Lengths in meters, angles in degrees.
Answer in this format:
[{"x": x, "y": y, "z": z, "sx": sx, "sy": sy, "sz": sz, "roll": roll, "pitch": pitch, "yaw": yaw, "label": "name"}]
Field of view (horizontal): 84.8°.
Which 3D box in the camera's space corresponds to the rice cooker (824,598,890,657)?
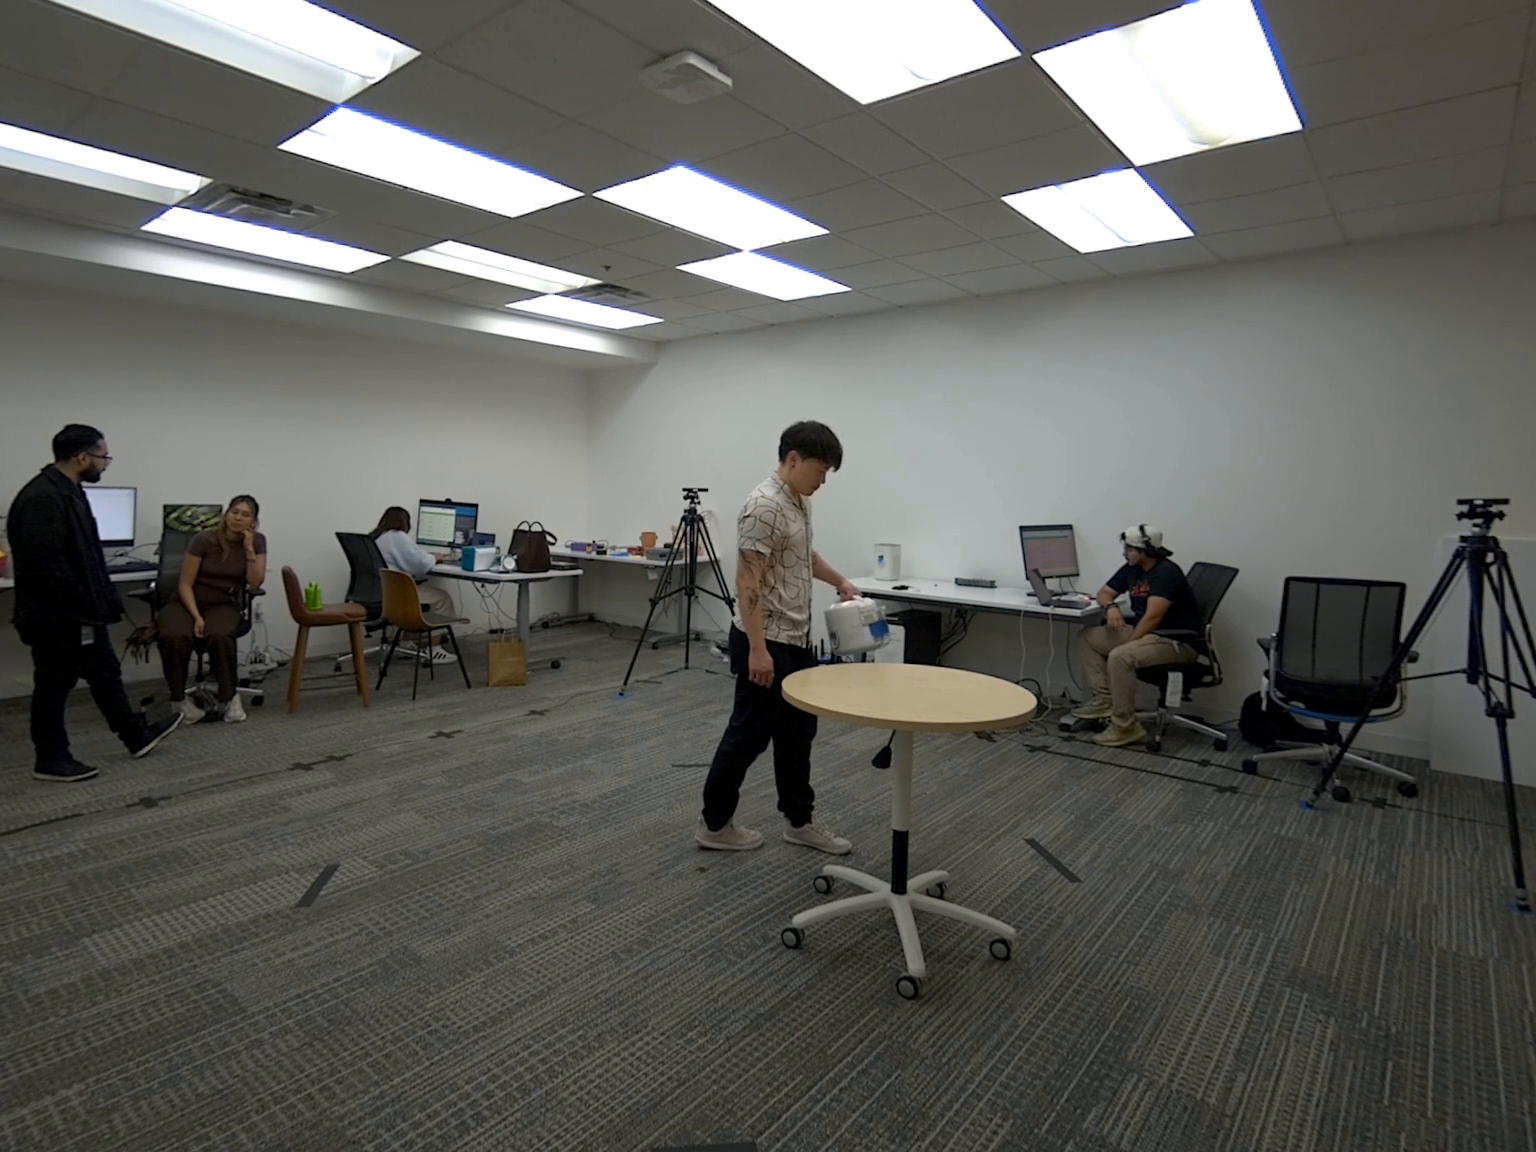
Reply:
[{"x": 0.333, "y": 0.187, "z": 3.400, "sx": 0.212, "sy": 0.234, "sz": 0.224, "roll": -9, "pitch": -6, "yaw": -29, "label": "rice cooker"}]
